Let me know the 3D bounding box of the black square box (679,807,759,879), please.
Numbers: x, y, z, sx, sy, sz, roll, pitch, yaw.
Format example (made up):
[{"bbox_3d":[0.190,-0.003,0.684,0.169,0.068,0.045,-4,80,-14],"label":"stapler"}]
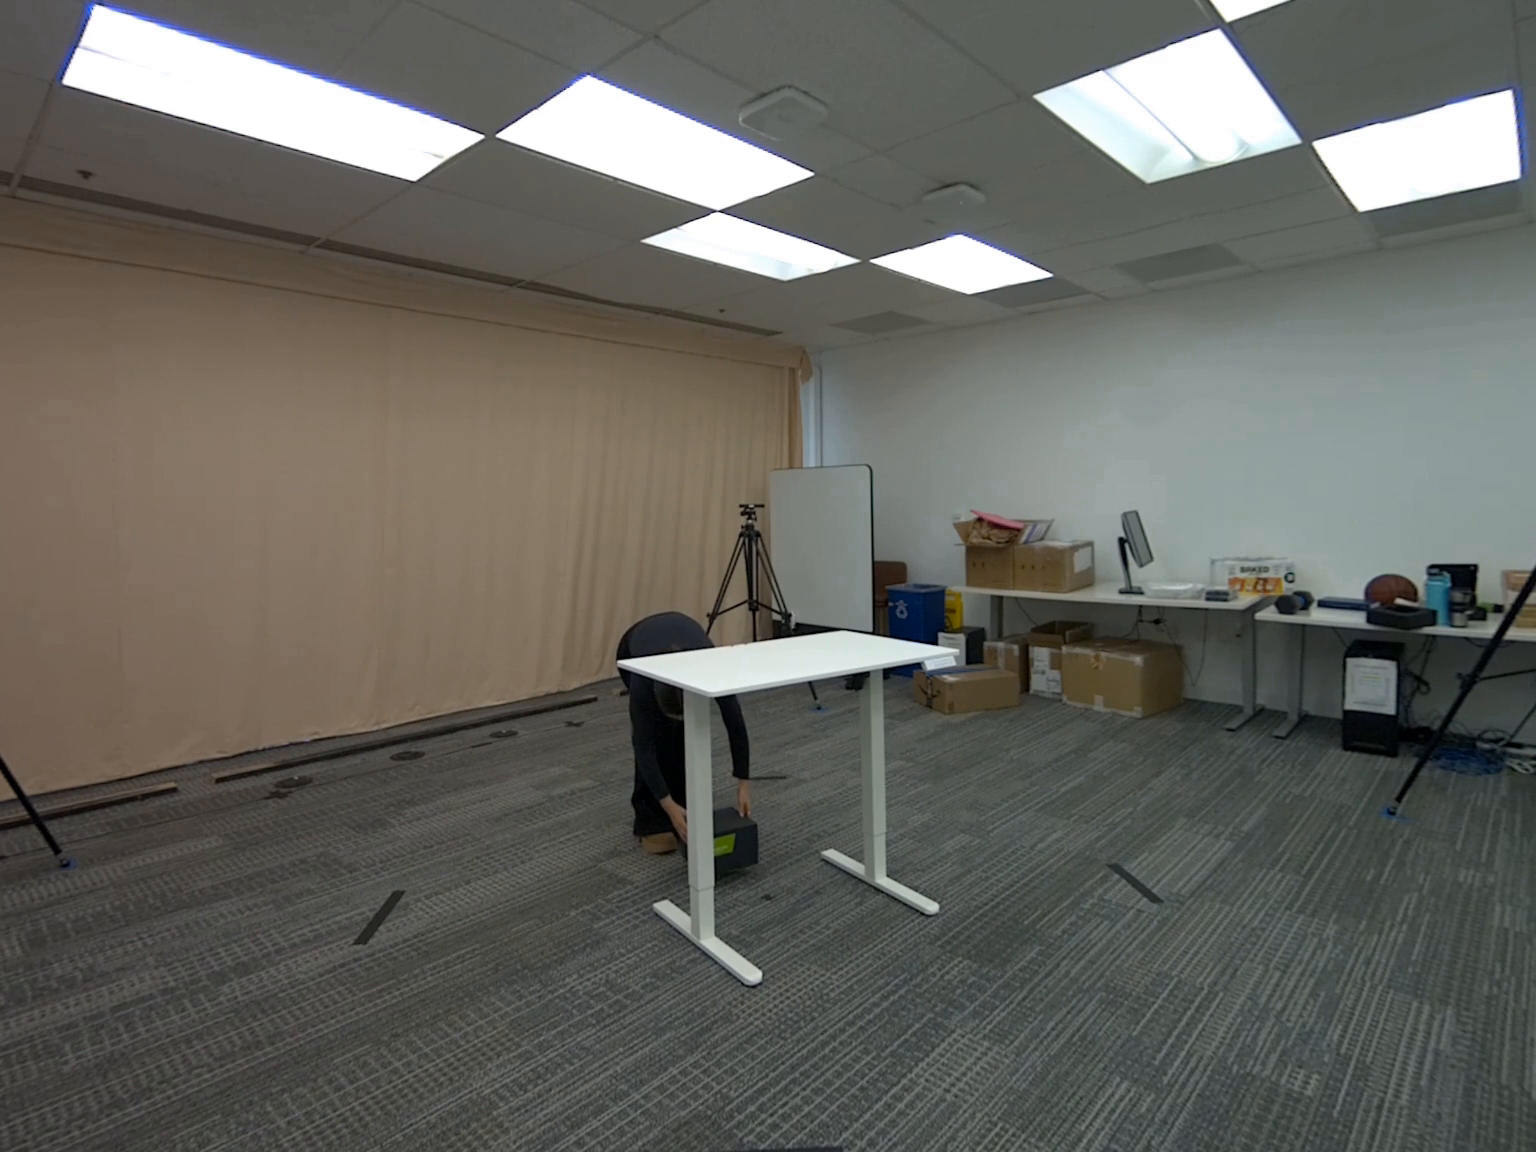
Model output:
[{"bbox_3d":[-0.184,1.003,3.199,0.222,0.155,0.223,-4,5,-29],"label":"black square box"}]
